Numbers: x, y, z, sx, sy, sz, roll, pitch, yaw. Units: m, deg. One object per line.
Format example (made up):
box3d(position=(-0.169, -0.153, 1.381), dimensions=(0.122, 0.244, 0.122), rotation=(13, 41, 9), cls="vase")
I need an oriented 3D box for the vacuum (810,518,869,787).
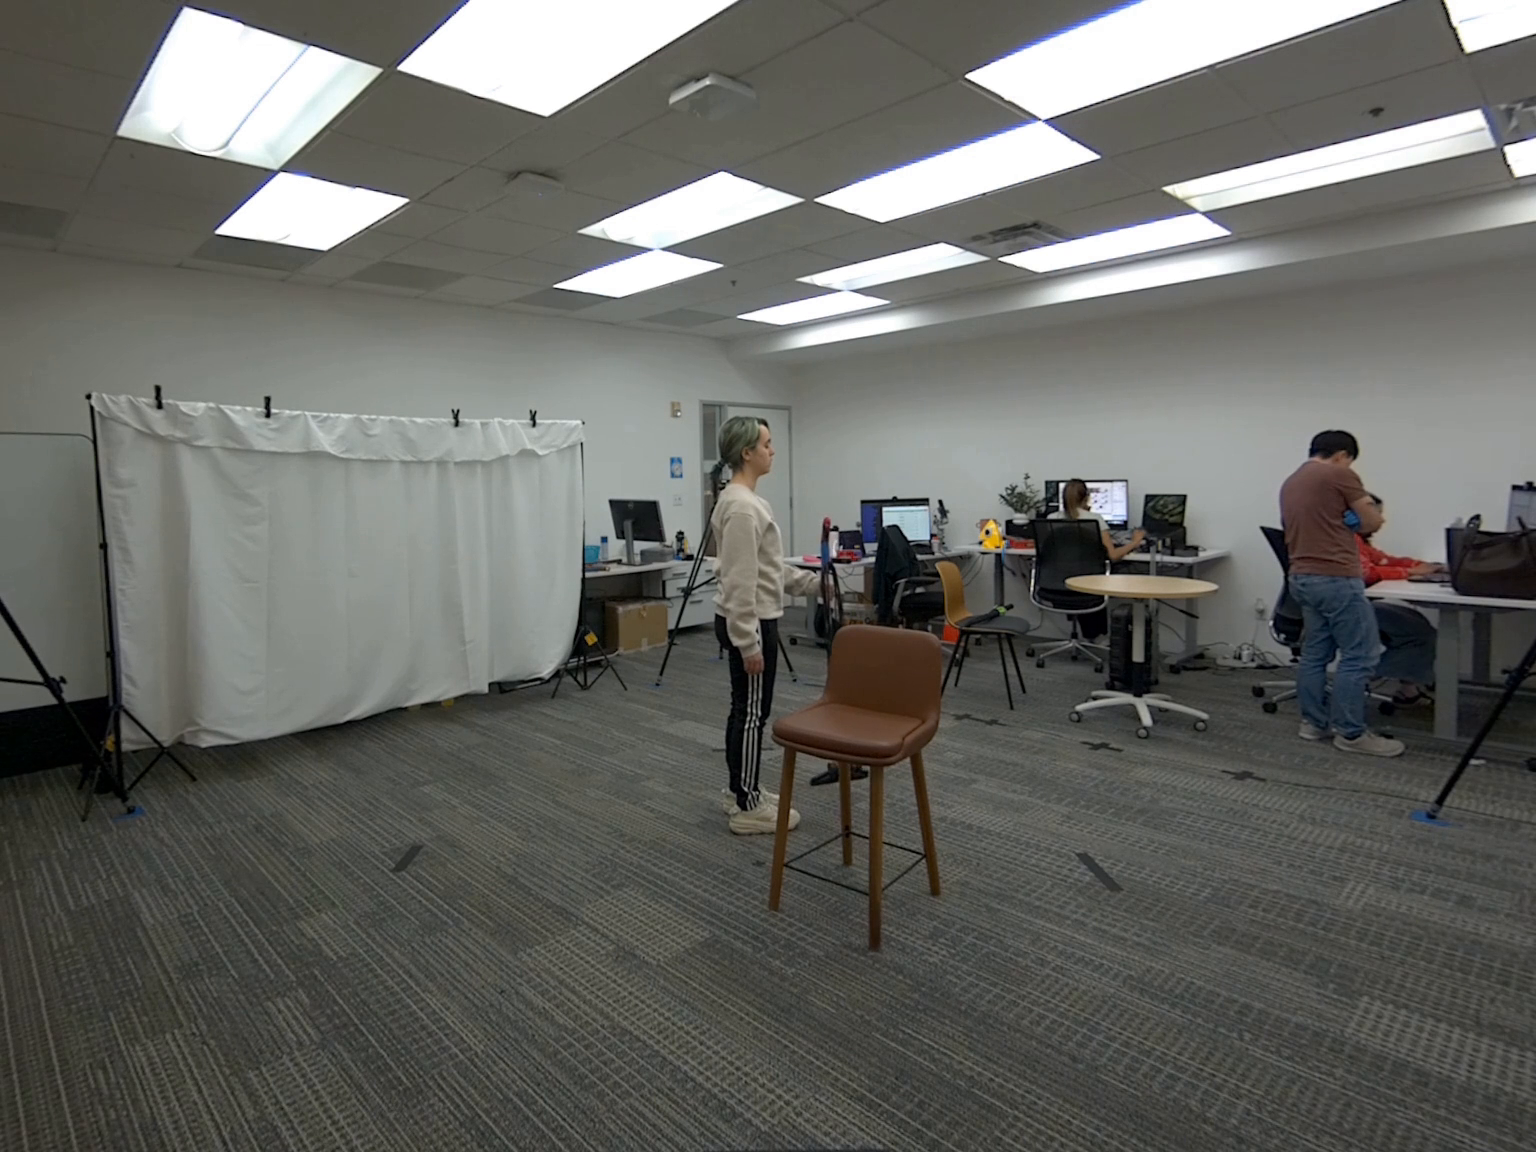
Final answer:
box3d(position=(0.271, 0.297, 3.519), dimensions=(0.248, 1.047, 0.146), rotation=(-3, 2, -18), cls="vacuum")
